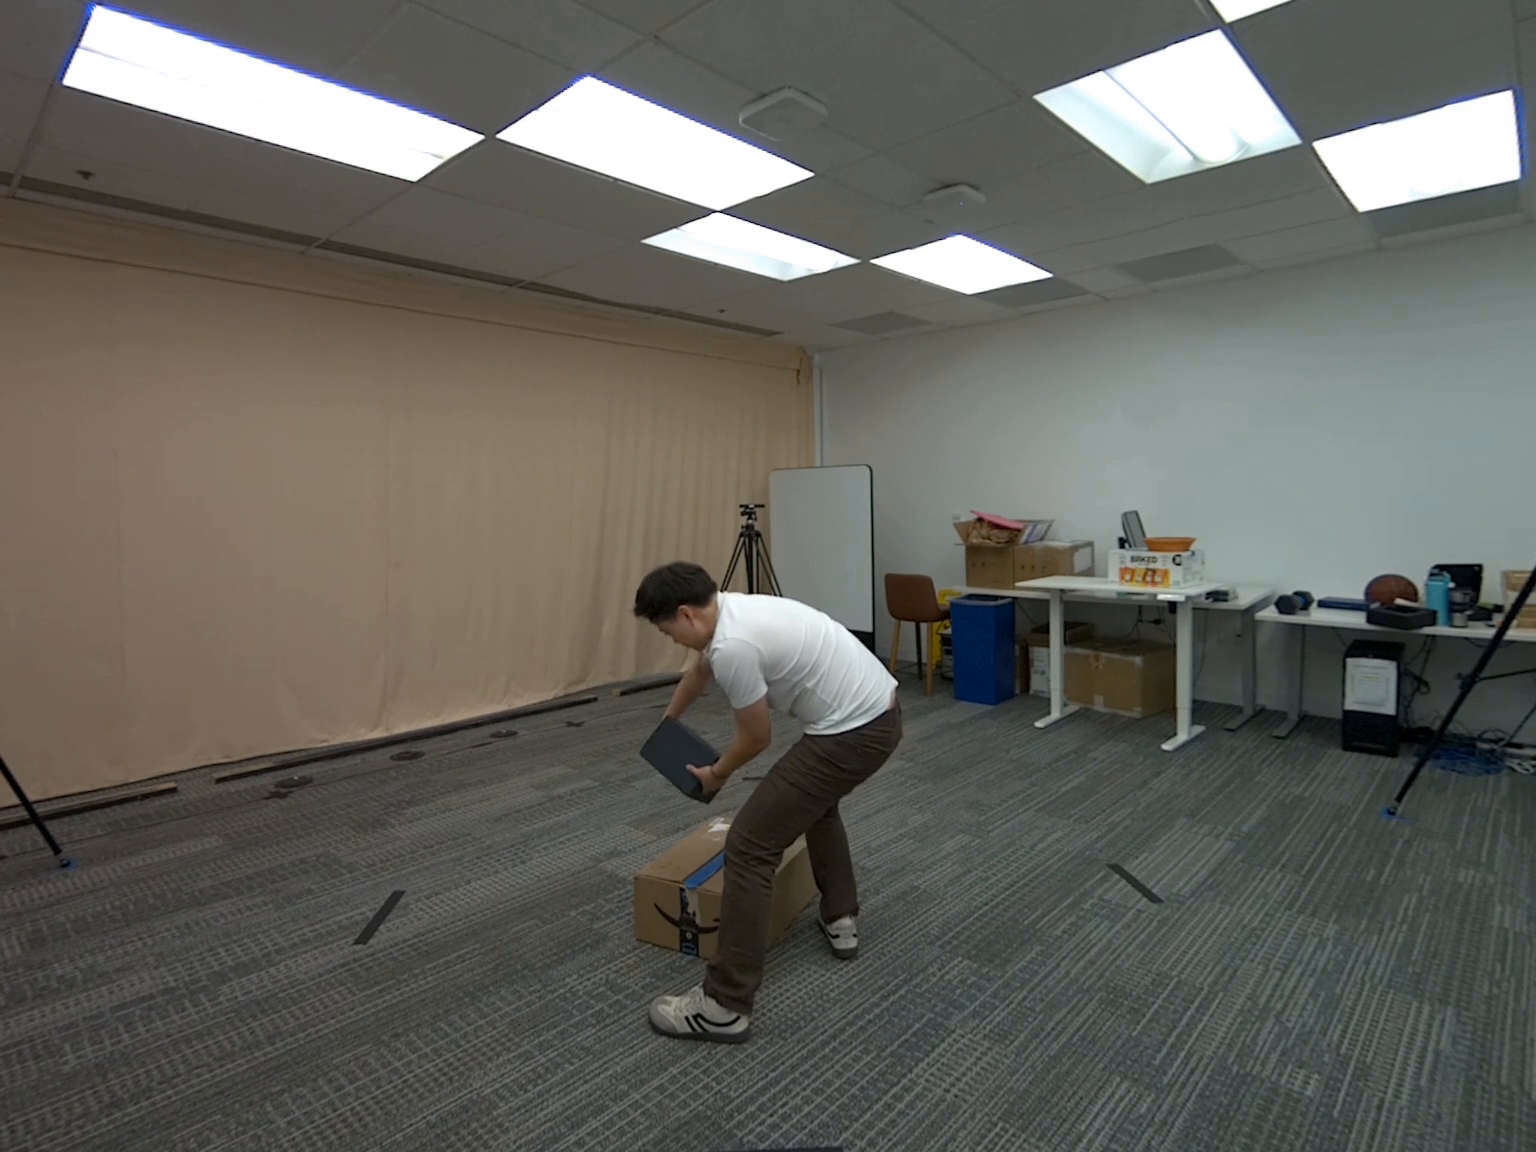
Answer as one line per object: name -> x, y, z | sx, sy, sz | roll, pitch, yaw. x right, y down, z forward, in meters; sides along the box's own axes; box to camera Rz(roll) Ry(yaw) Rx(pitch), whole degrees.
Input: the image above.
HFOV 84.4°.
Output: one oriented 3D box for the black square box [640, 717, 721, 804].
black square box -> -0.256, 0.607, 2.766 | 0.234, 0.155, 0.211 | 35, -9, 24
